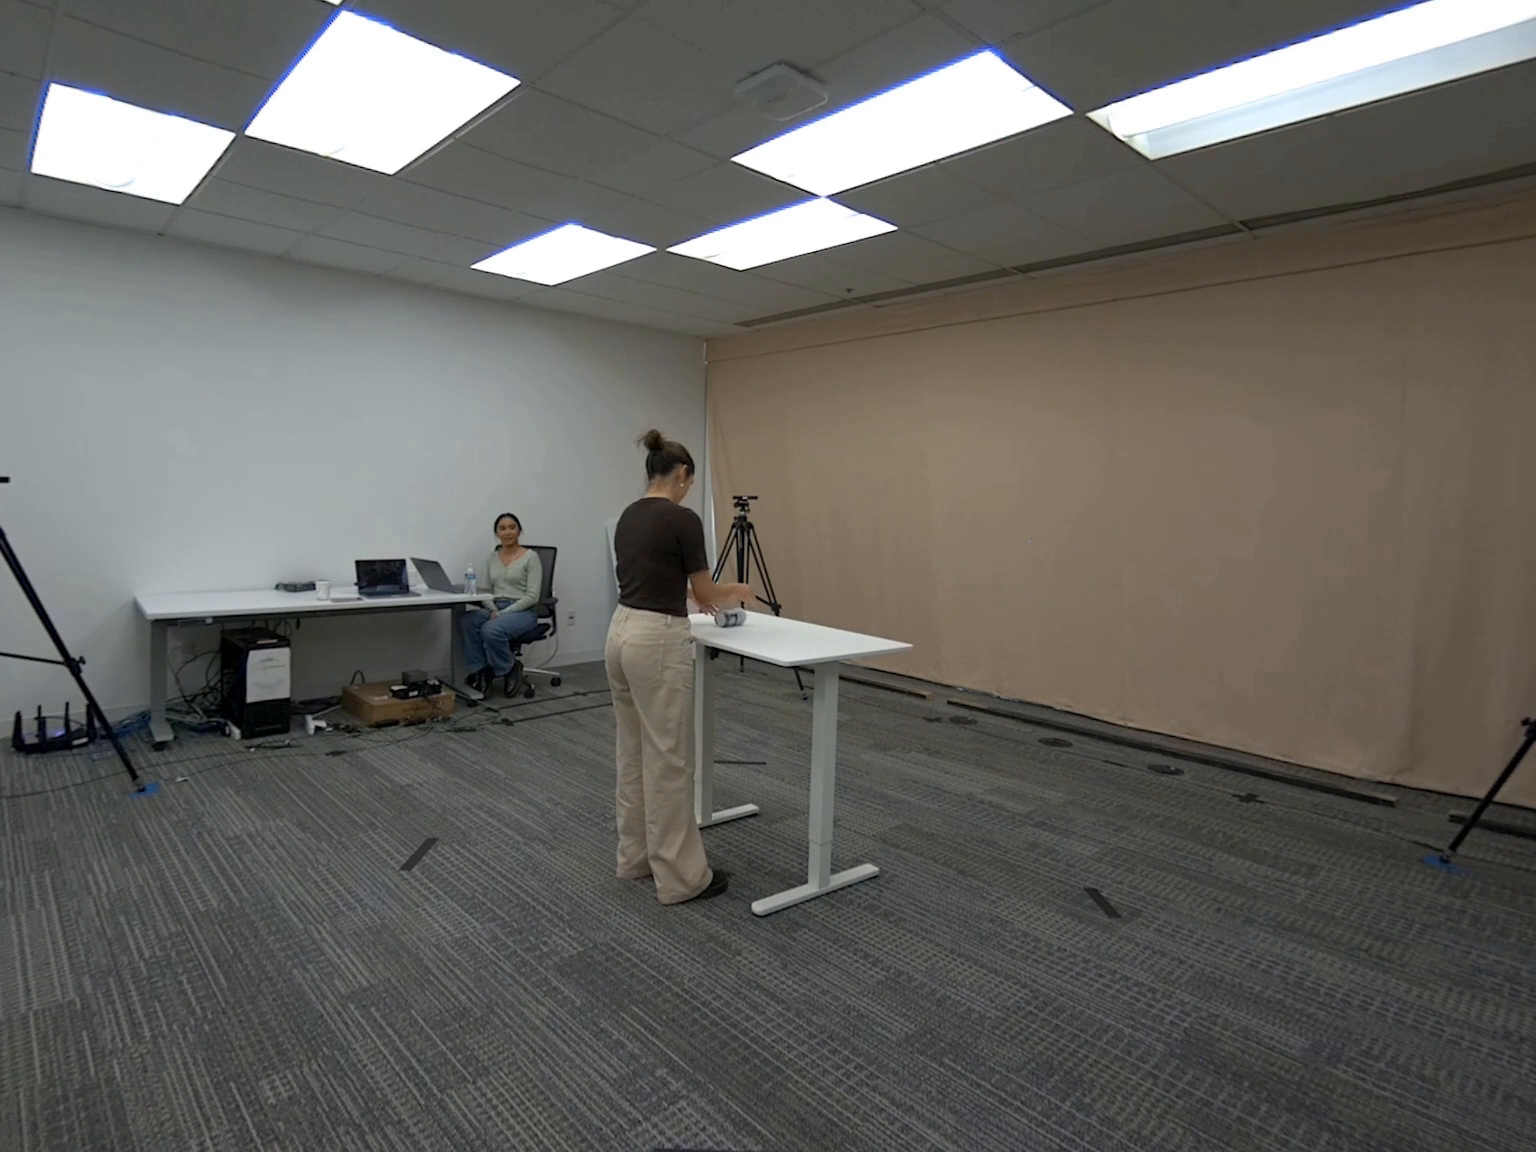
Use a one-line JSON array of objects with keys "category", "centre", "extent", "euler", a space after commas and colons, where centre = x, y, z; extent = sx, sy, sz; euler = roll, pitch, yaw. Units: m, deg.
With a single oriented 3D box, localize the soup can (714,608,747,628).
[{"category": "soup can", "centre": [-0.153, 0.163, 3.330], "extent": [0.119, 0.067, 0.069], "euler": [-6, 8, -44]}]
